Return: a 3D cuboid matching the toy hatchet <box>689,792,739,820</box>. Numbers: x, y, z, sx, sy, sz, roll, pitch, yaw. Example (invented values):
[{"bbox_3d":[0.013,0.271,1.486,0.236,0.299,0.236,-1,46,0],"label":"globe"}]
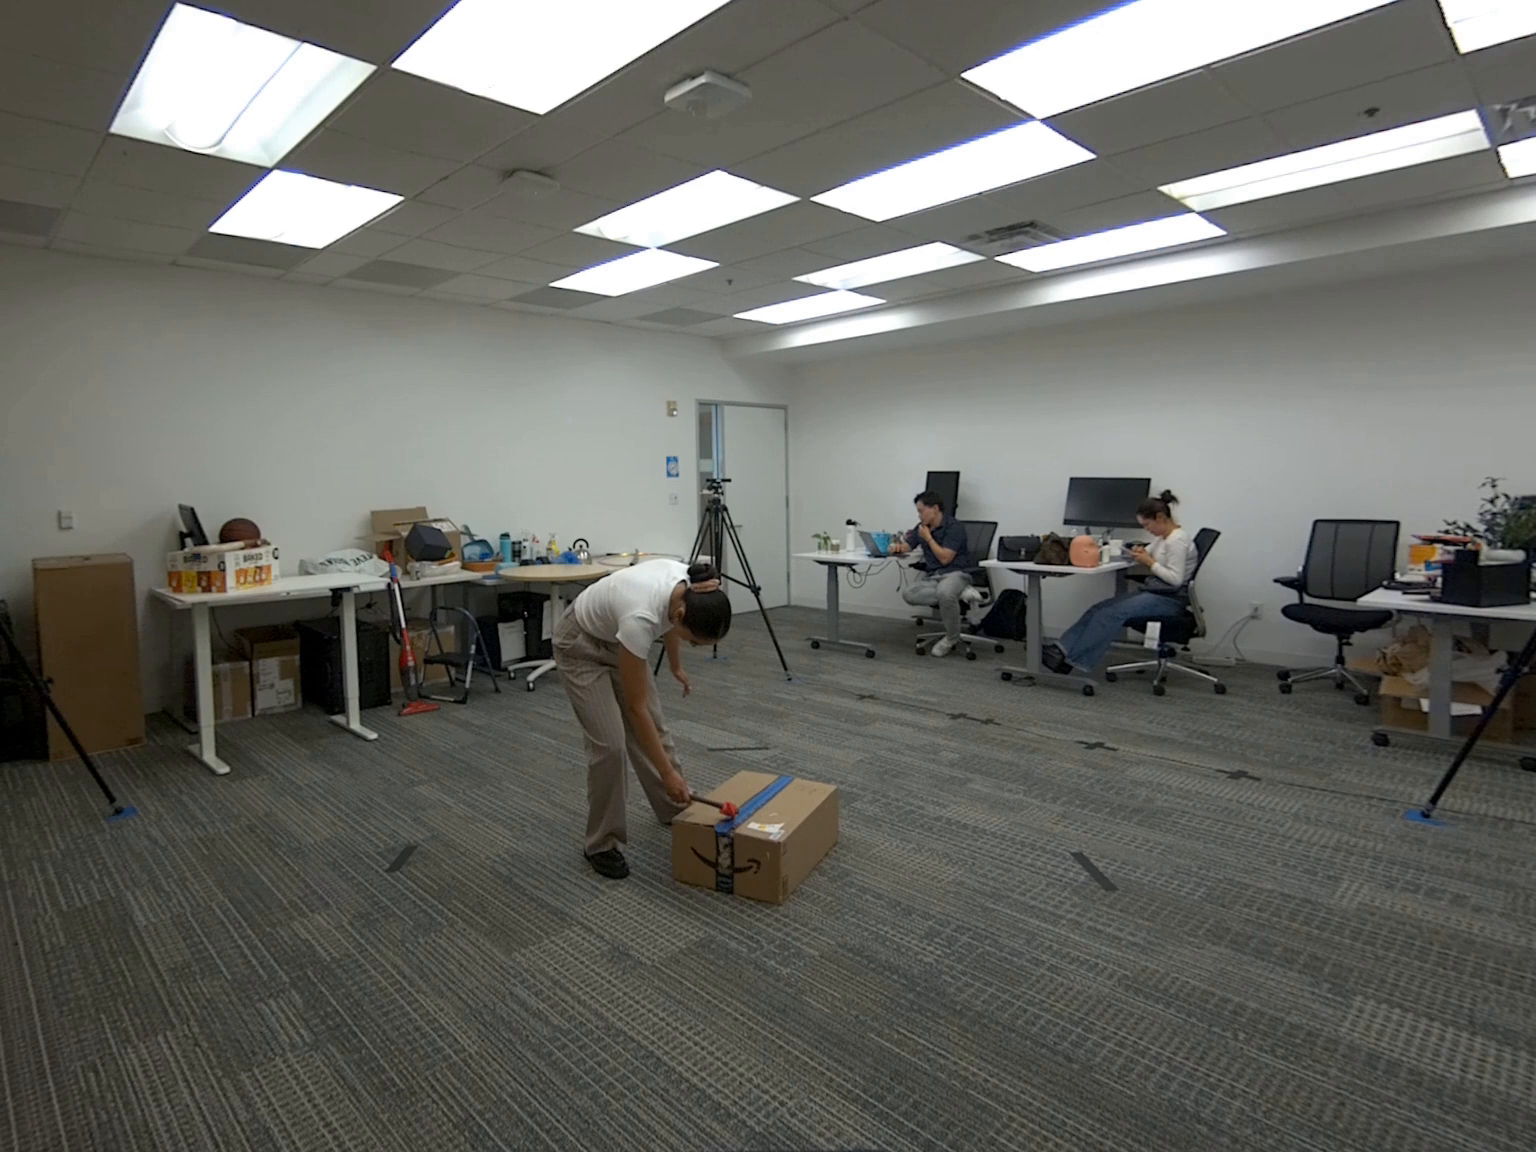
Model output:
[{"bbox_3d":[-0.210,0.797,2.971,0.277,0.030,0.126,-3,-42,34],"label":"toy hatchet"}]
